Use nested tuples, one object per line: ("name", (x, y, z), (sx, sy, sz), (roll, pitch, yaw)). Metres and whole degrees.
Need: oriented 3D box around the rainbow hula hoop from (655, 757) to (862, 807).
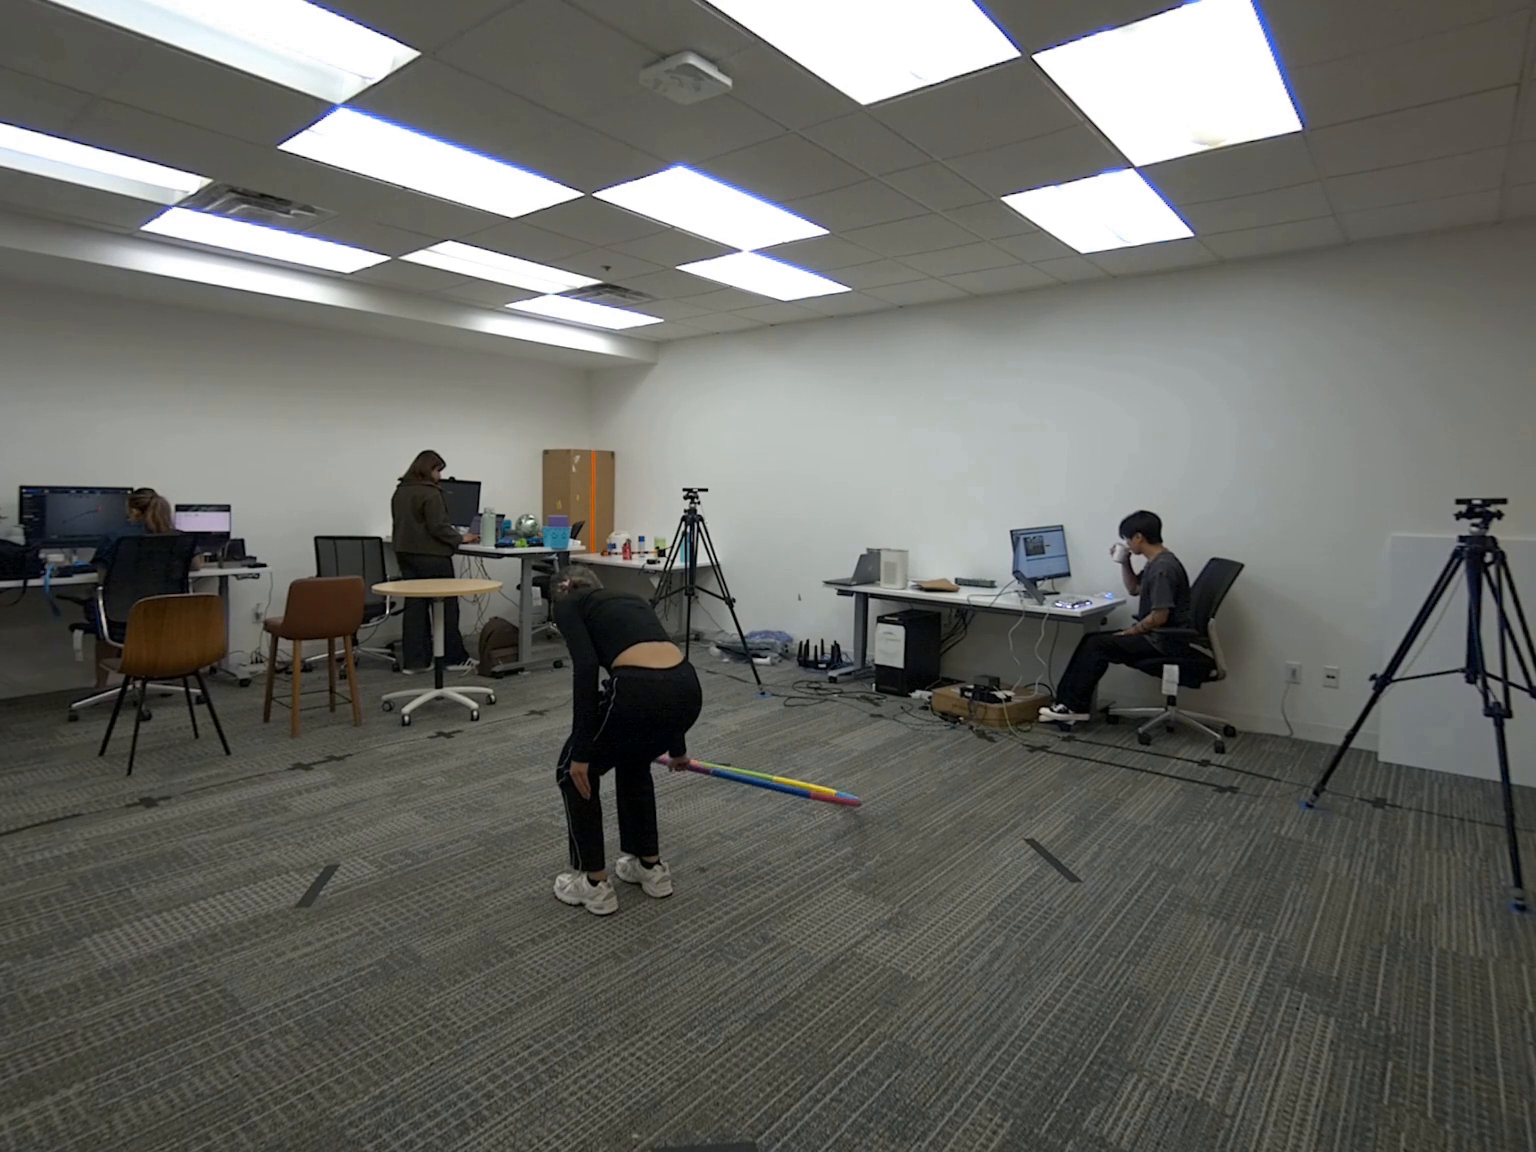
("rainbow hula hoop", (-0.104, 0.844, 3.614), (0.981, 0.036, 0.967), (12, -12, 1))
